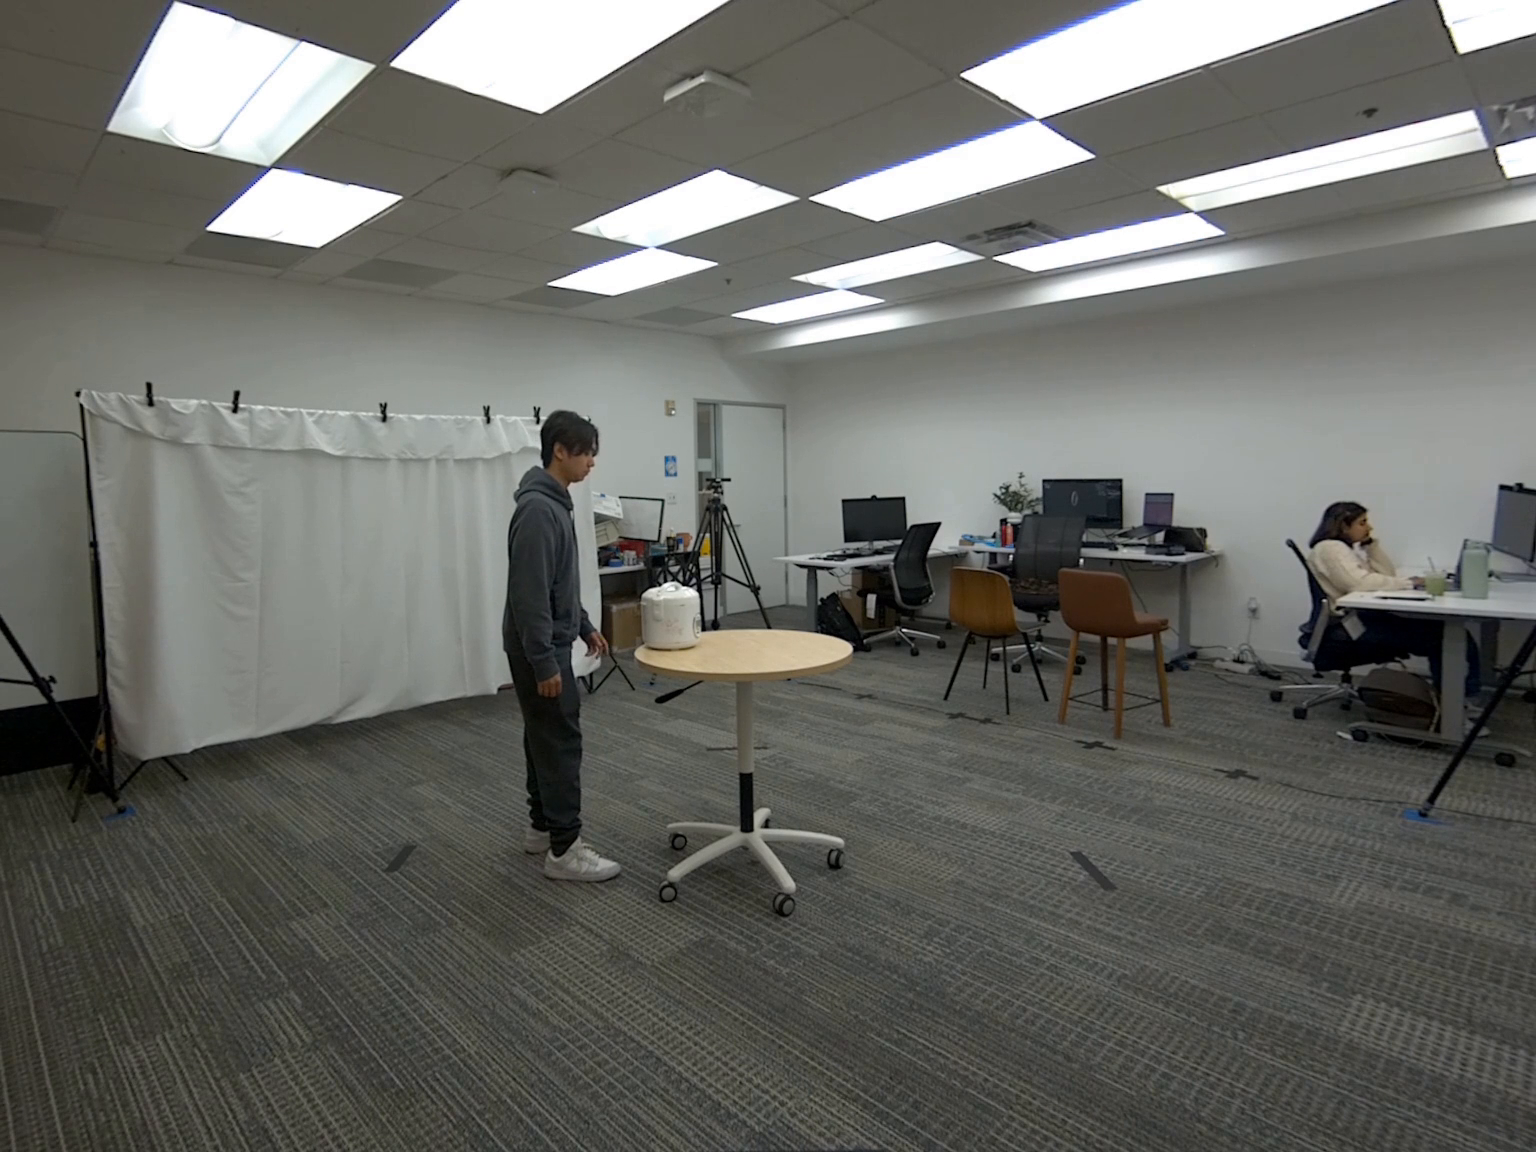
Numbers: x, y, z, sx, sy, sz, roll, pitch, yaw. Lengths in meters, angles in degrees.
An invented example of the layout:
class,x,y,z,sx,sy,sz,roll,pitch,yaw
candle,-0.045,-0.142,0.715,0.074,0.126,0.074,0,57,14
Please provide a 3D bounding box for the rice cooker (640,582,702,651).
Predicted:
class,x,y,z,sx,sy,sz,roll,pitch,yaw
rice cooker,-0.350,0.136,3.086,0.222,0.232,0.217,-1,4,23
